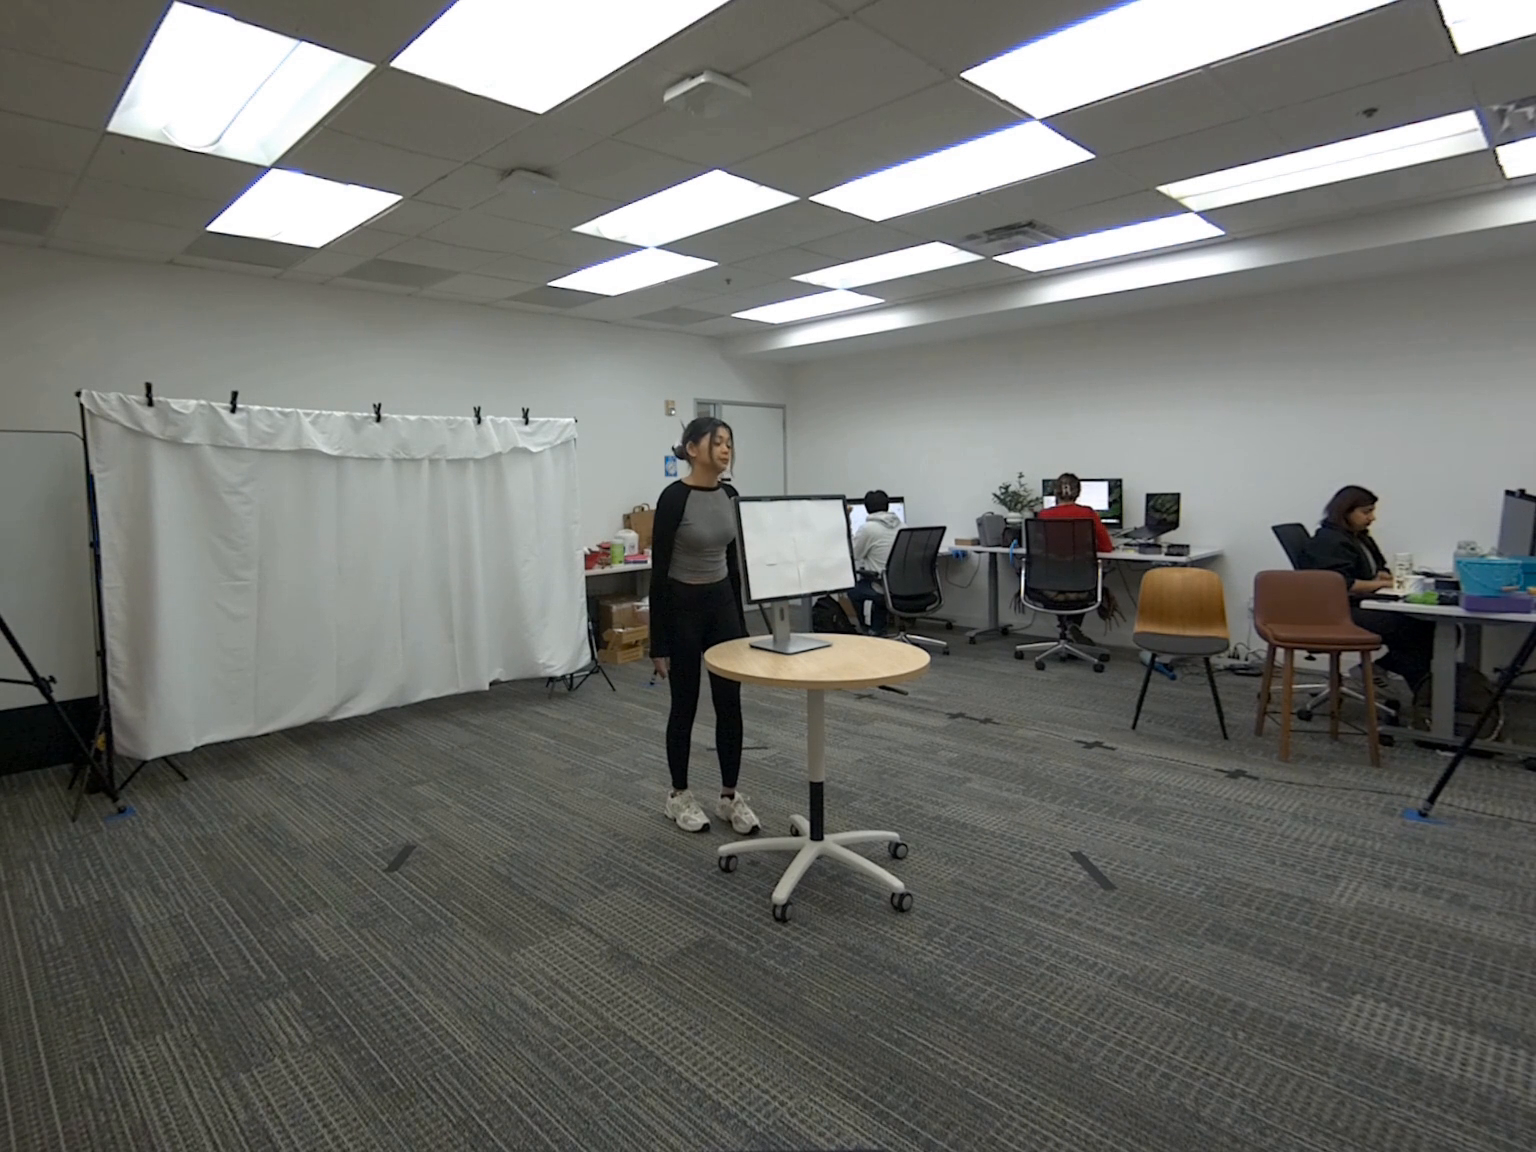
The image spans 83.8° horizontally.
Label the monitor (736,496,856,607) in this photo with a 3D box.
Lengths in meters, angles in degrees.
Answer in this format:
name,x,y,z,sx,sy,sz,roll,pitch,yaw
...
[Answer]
name,x,y,z,sx,sy,sz,roll,pitch,yaw
monitor,0.081,-0.012,3.049,0.525,0.520,0.193,-5,8,-44
